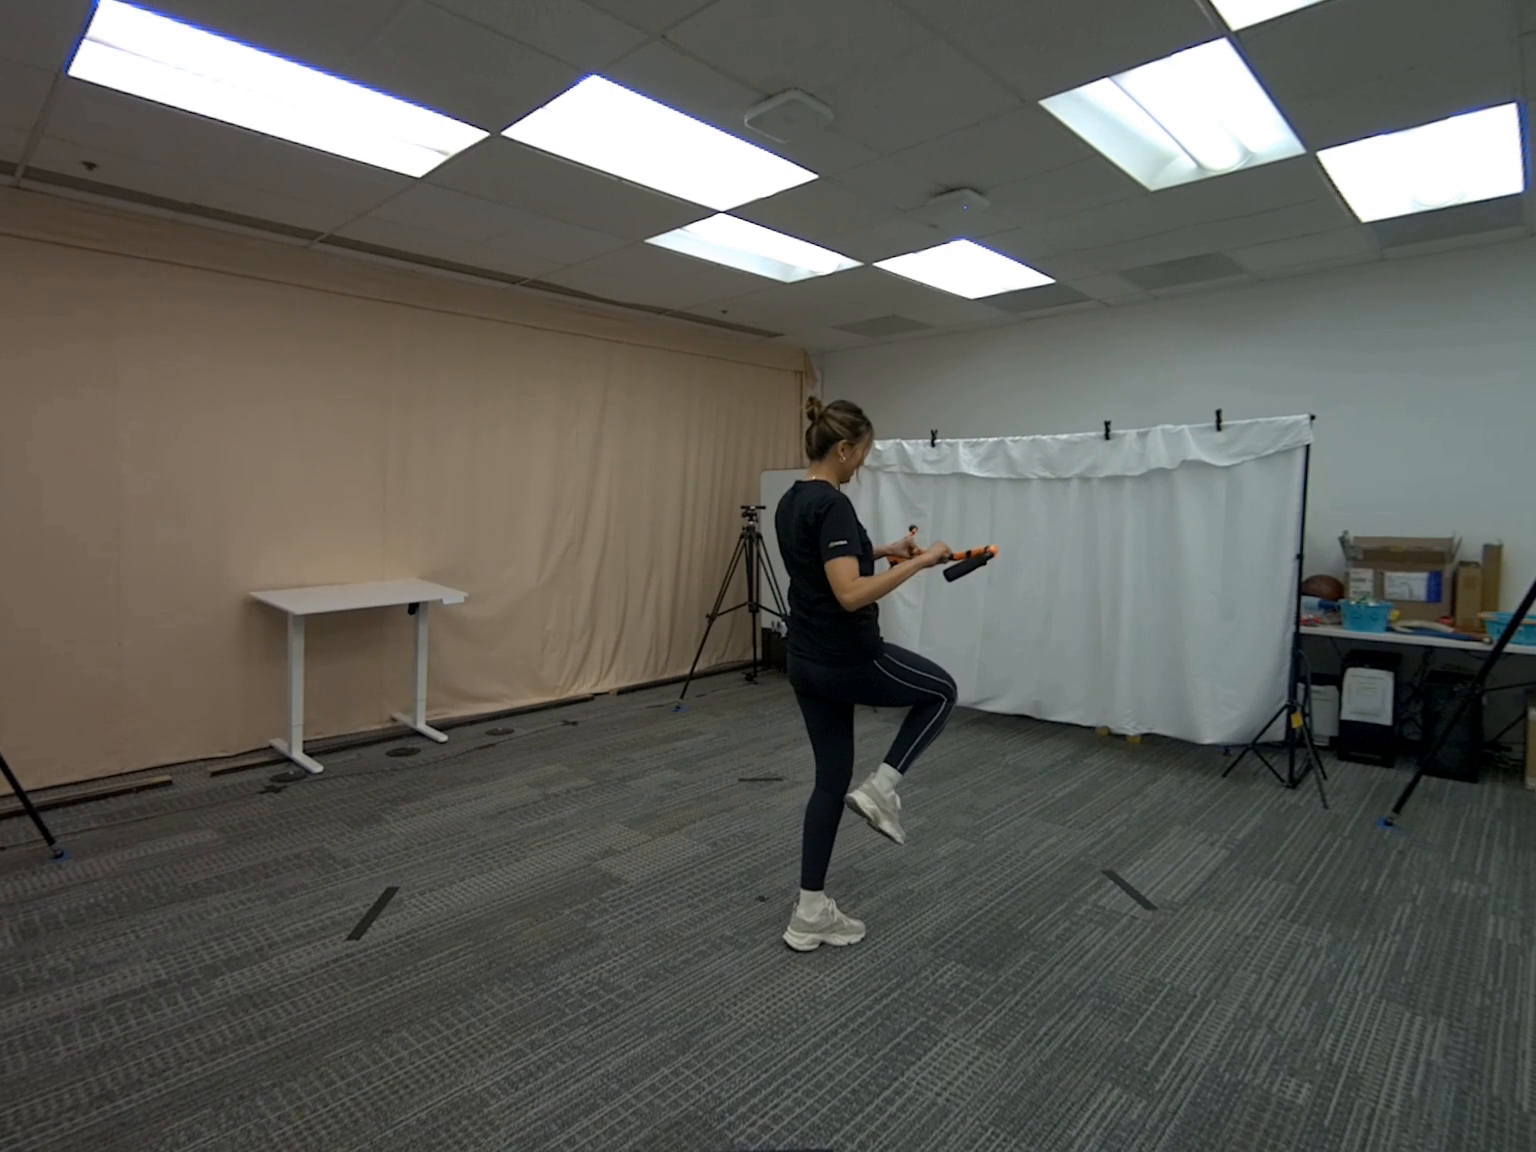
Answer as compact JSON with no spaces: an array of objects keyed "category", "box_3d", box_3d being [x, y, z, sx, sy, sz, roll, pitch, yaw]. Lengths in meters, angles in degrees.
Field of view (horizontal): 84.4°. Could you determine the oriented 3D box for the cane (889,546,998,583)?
[{"category":"cane","box_3d":[0.570,-0.066,2.585,0.205,0.151,0.916,-27,7,-7]}]
